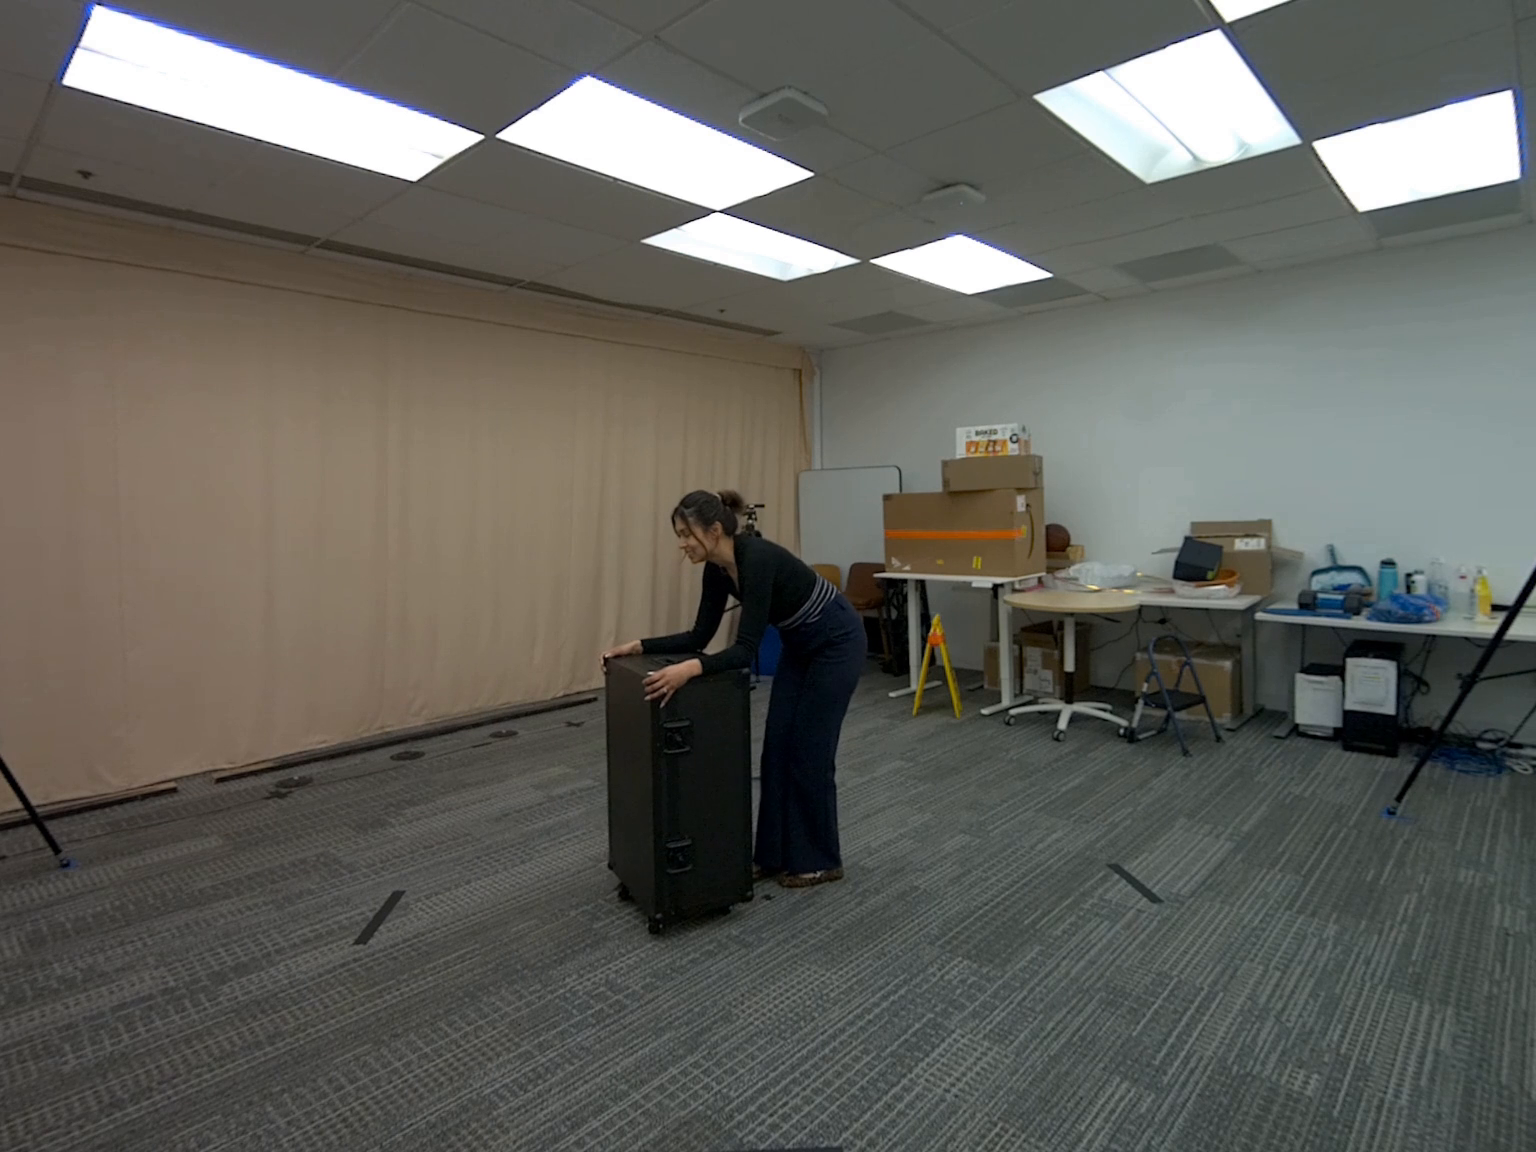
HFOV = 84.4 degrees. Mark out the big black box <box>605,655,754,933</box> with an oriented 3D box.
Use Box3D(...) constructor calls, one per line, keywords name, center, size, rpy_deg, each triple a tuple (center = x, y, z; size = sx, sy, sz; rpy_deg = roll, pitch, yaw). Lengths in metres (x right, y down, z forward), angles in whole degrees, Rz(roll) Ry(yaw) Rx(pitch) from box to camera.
Box3D(name="big black box", center=(-0.317, 0.724, 2.949), size=(0.386, 0.860, 0.535), rpy_deg=(-1, 2, -28))
